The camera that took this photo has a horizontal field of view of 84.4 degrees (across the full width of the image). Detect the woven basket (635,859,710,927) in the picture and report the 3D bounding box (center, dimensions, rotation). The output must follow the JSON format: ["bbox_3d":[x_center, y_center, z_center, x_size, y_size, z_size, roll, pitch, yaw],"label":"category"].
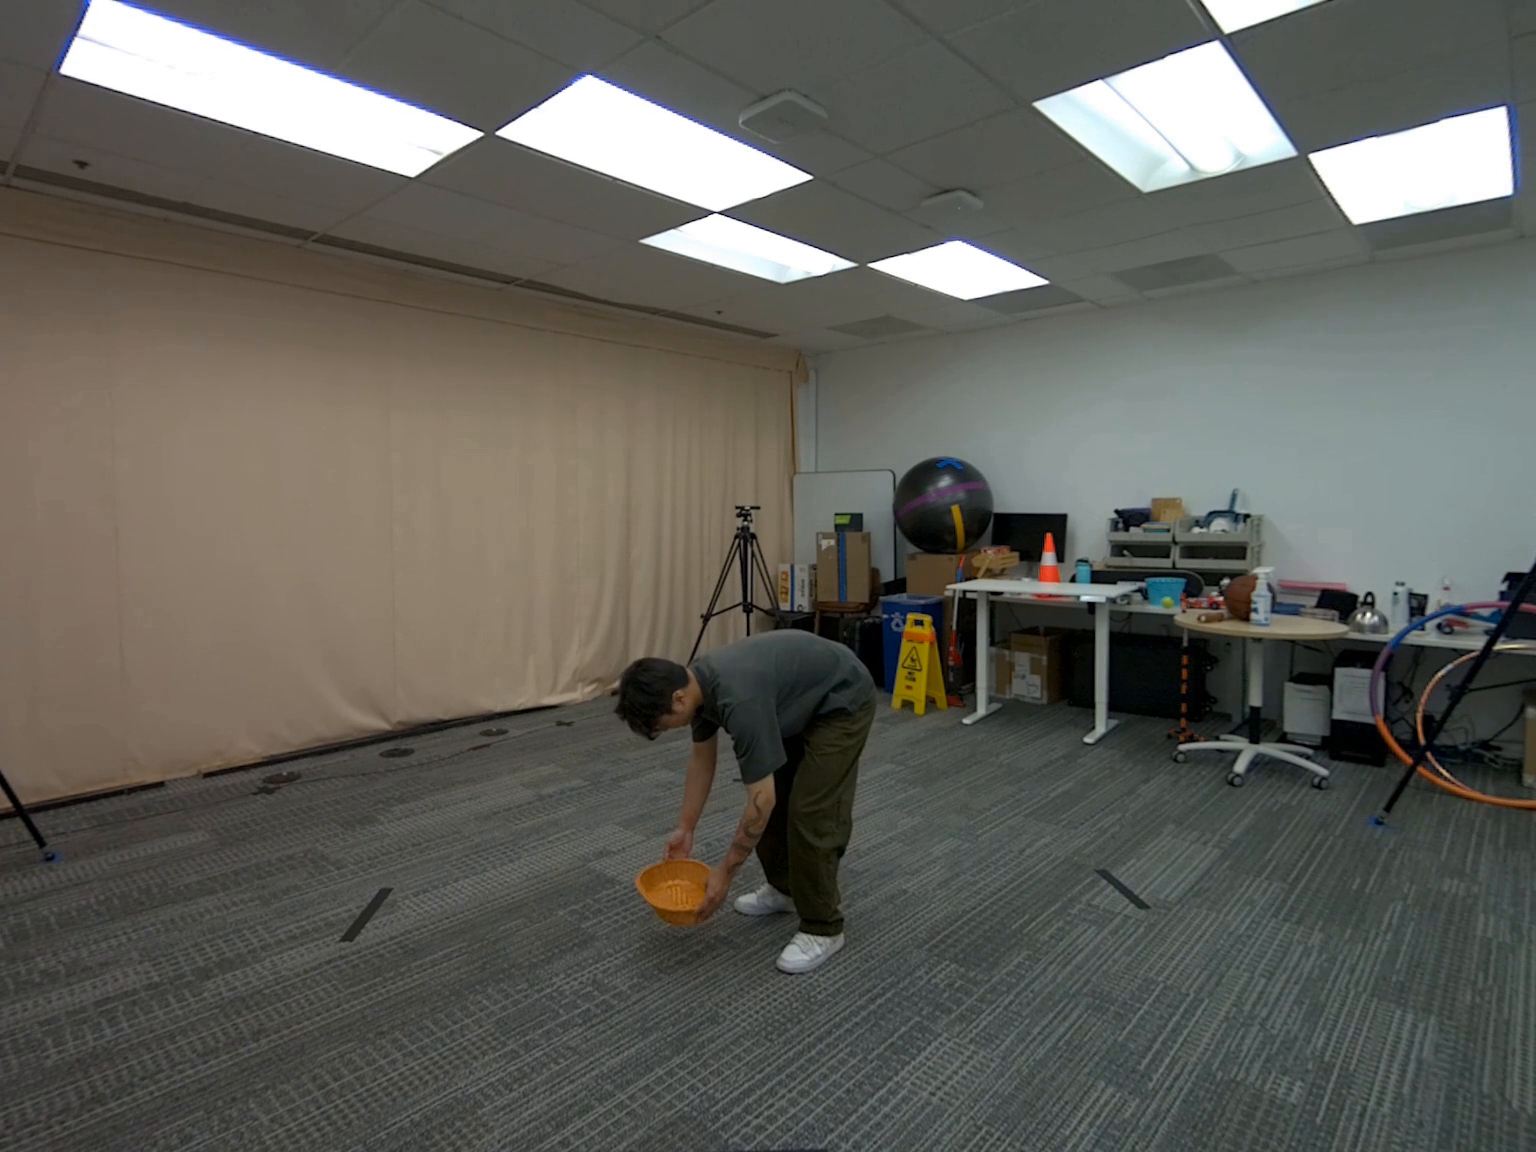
[{"bbox_3d":[-0.261,0.975,2.621,0.248,0.073,0.358,-6,7,-21],"label":"woven basket"}]
